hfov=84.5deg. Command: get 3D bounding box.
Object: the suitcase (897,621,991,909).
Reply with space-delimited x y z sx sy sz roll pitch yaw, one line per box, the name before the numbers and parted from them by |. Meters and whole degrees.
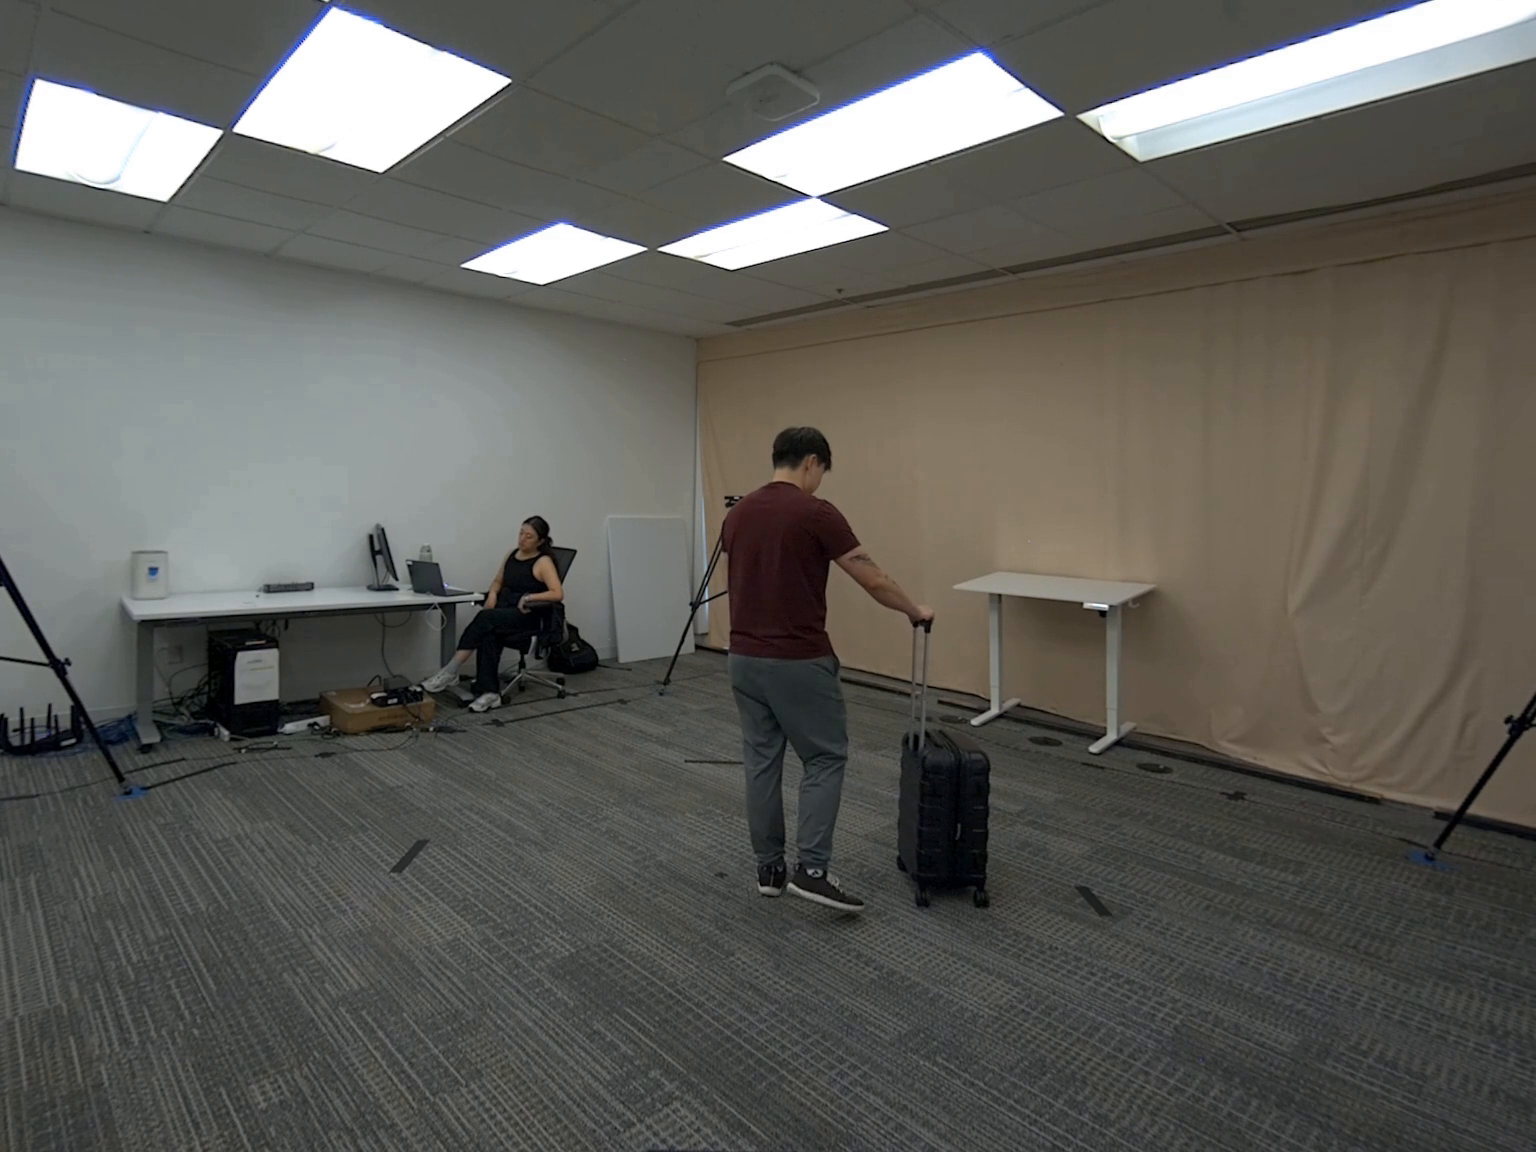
suitcase | 0.628 0.644 3.057 0.257 0.977 0.385 2 3 -2
